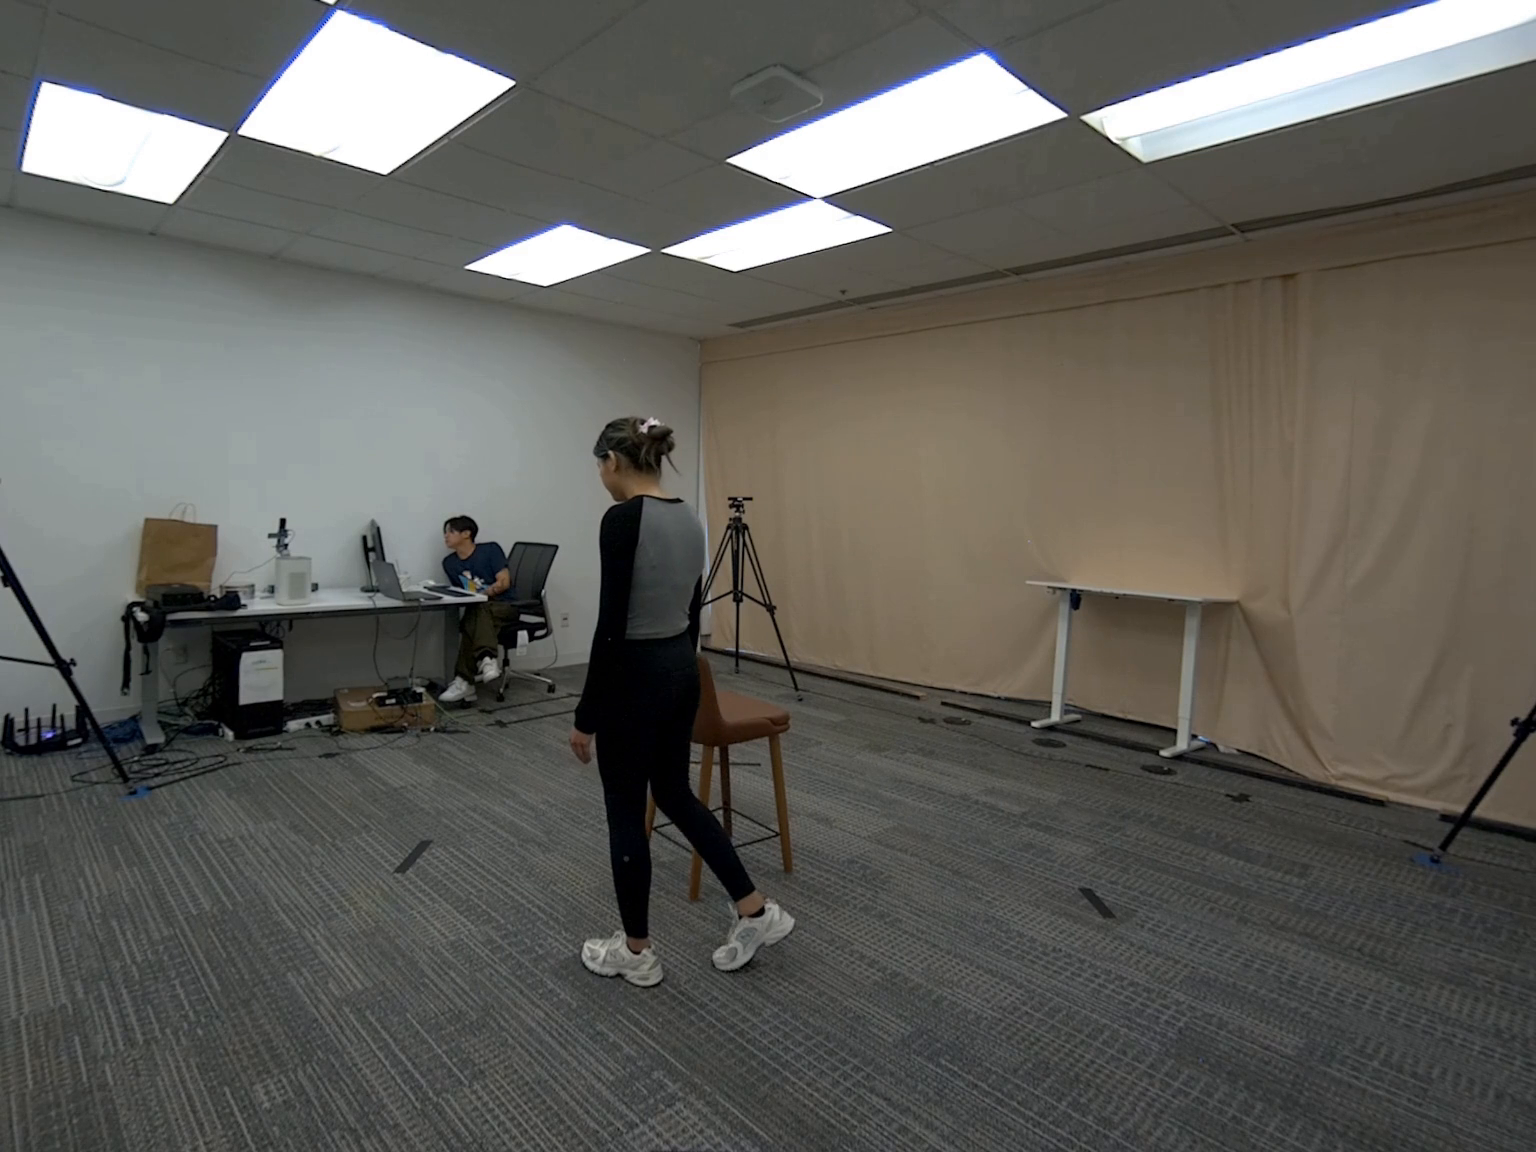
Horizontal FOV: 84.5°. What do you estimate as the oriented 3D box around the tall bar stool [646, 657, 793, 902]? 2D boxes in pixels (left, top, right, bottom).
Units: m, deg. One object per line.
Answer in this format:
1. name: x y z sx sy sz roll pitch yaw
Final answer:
1. tall bar stool: -0.206 0.666 3.147 0.457 0.887 0.468 -4 6 -38
